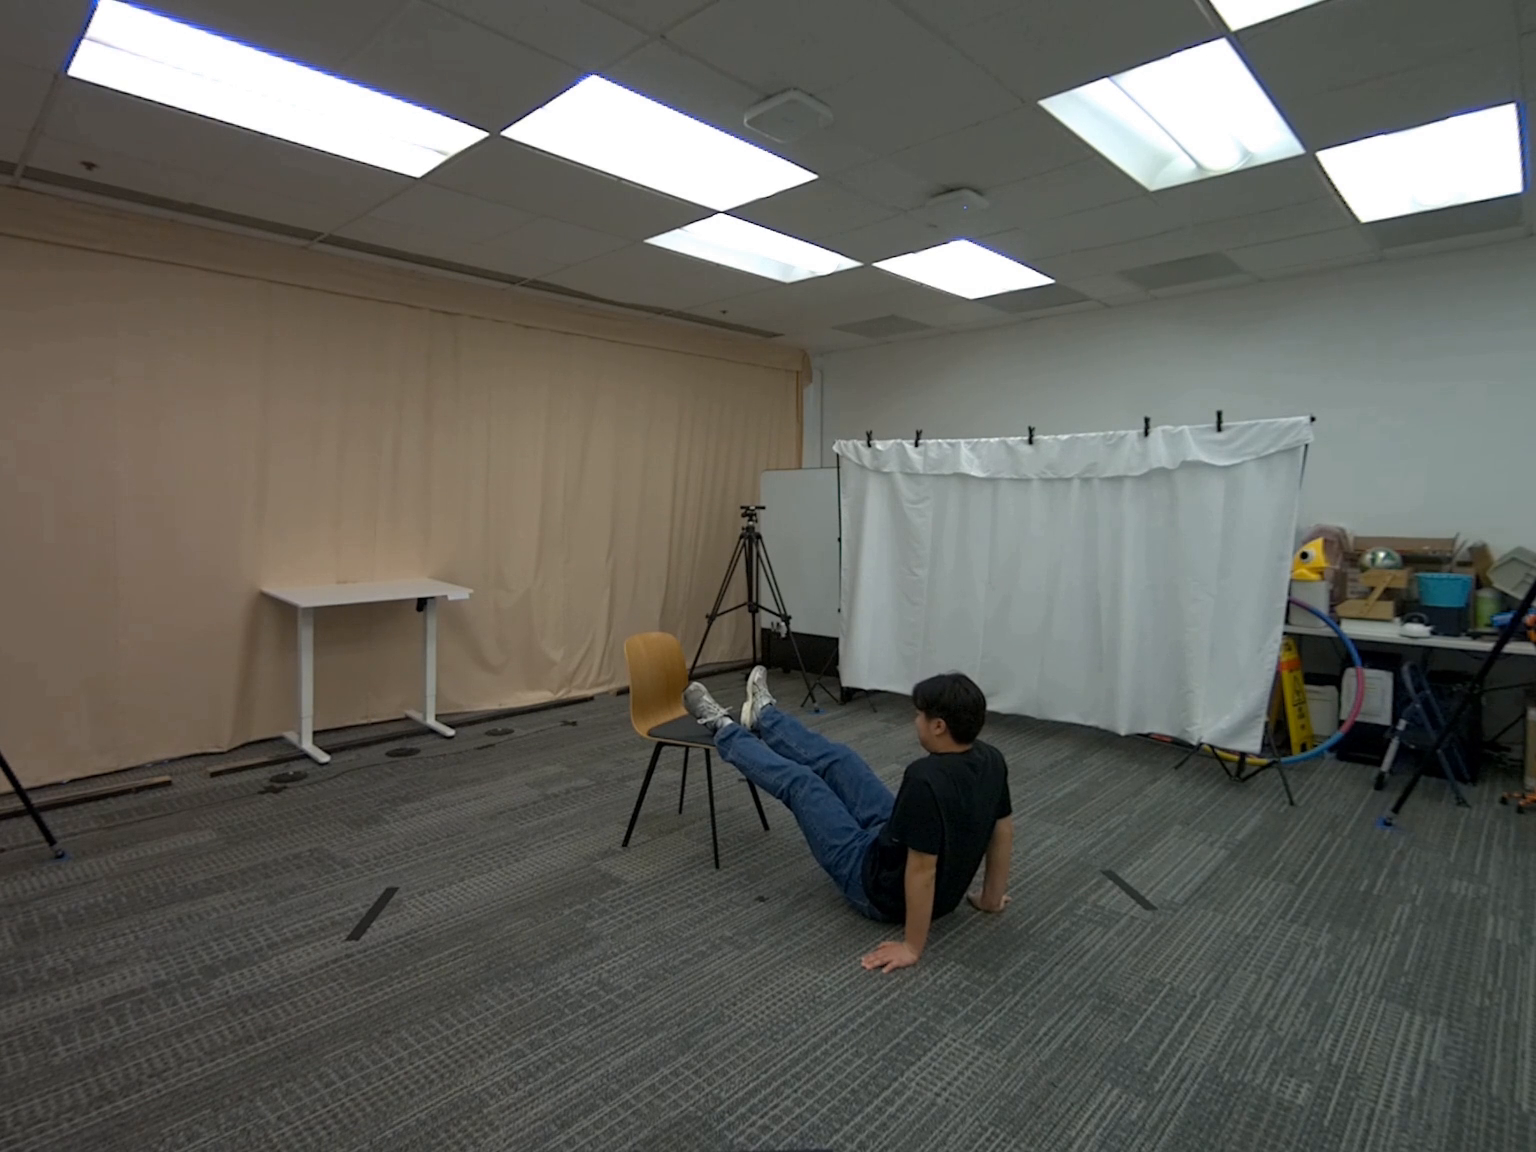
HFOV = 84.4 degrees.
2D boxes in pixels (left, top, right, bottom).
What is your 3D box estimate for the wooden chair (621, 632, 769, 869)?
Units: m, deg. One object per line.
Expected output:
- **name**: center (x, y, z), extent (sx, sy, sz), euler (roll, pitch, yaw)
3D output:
- **wooden chair**: center (-0.293, 0.675, 3.499), extent (0.537, 0.877, 0.466), euler (-3, 1, 28)
